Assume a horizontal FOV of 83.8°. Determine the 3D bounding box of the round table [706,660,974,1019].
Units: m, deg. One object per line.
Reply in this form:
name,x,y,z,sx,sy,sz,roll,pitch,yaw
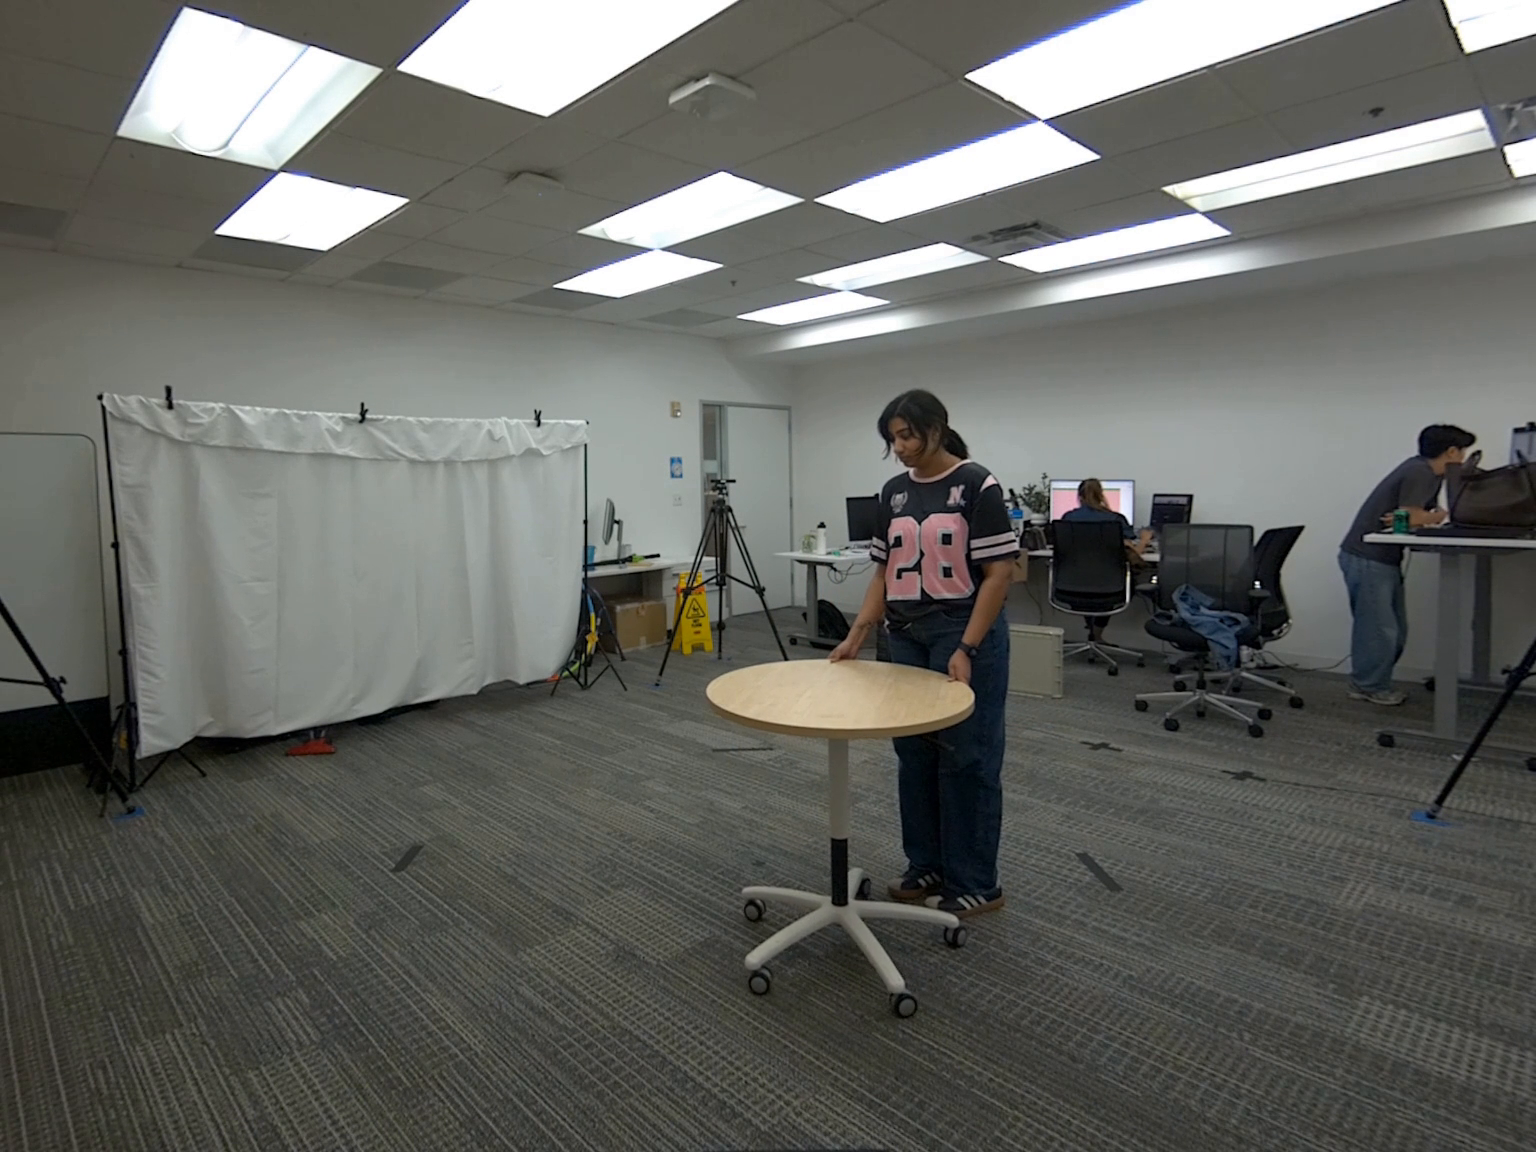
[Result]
round table,0.209,0.720,2.517,0.763,0.790,0.768,-1,5,-2
